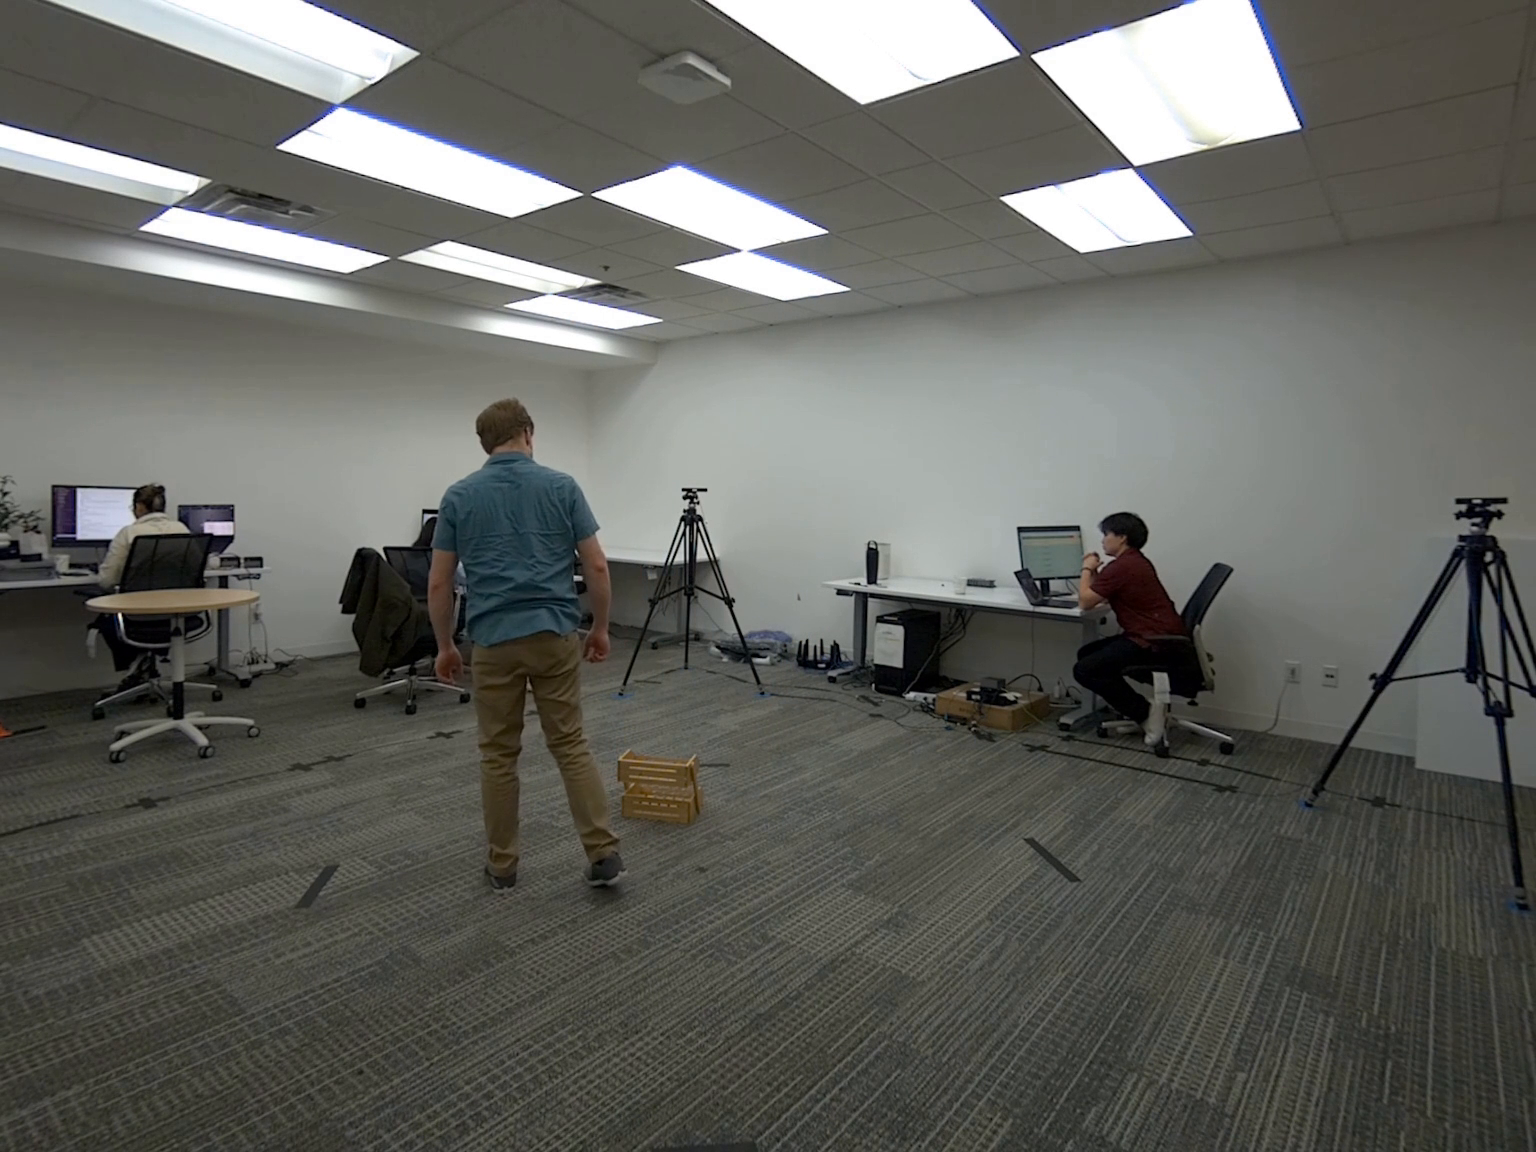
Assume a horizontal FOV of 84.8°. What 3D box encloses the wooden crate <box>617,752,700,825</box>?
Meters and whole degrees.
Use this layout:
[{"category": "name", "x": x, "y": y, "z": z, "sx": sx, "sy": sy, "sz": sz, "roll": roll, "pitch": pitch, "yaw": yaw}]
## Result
[{"category": "wooden crate", "x": -0.471, "y": 0.881, "z": 3.664, "sx": 0.329, "sy": 0.272, "sz": 0.299, "roll": 2, "pitch": 5, "yaw": 11}]
